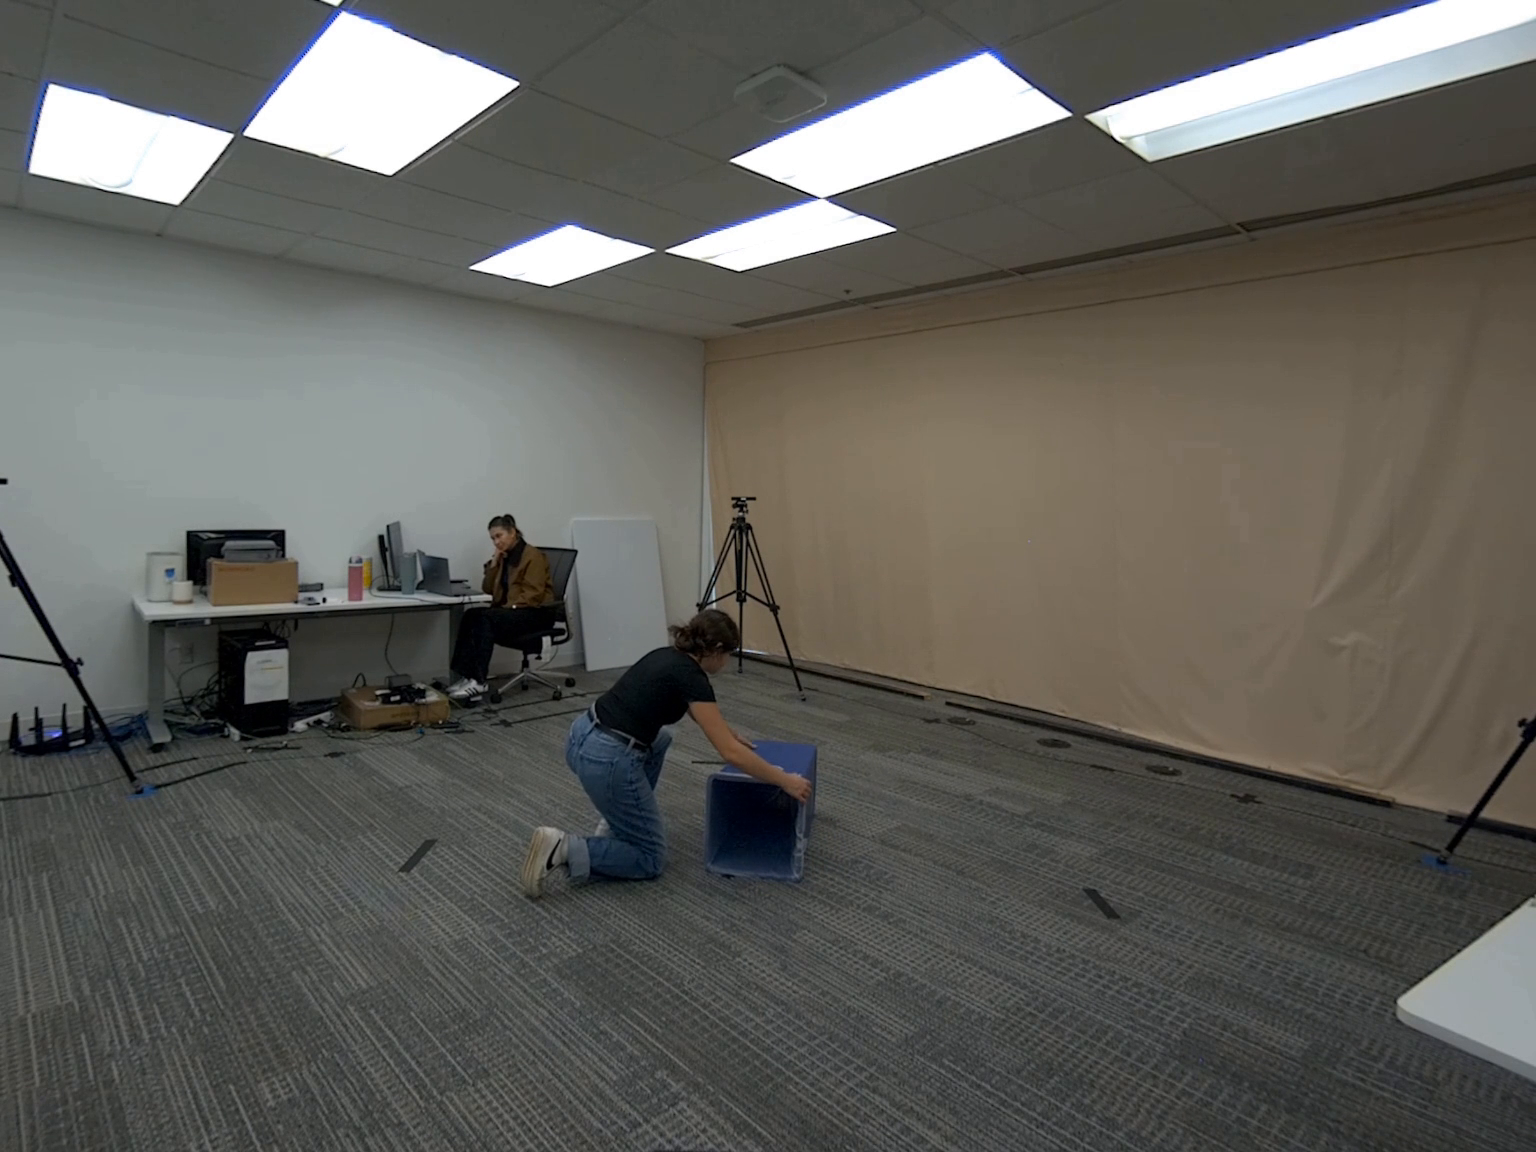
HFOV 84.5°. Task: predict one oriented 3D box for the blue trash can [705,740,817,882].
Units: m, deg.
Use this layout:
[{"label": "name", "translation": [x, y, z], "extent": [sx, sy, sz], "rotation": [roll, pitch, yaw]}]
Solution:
[{"label": "blue trash can", "translation": [-0.009, 0.914, 3.444], "extent": [0.377, 0.378, 0.708], "rotation": [2, 2, 9]}]
